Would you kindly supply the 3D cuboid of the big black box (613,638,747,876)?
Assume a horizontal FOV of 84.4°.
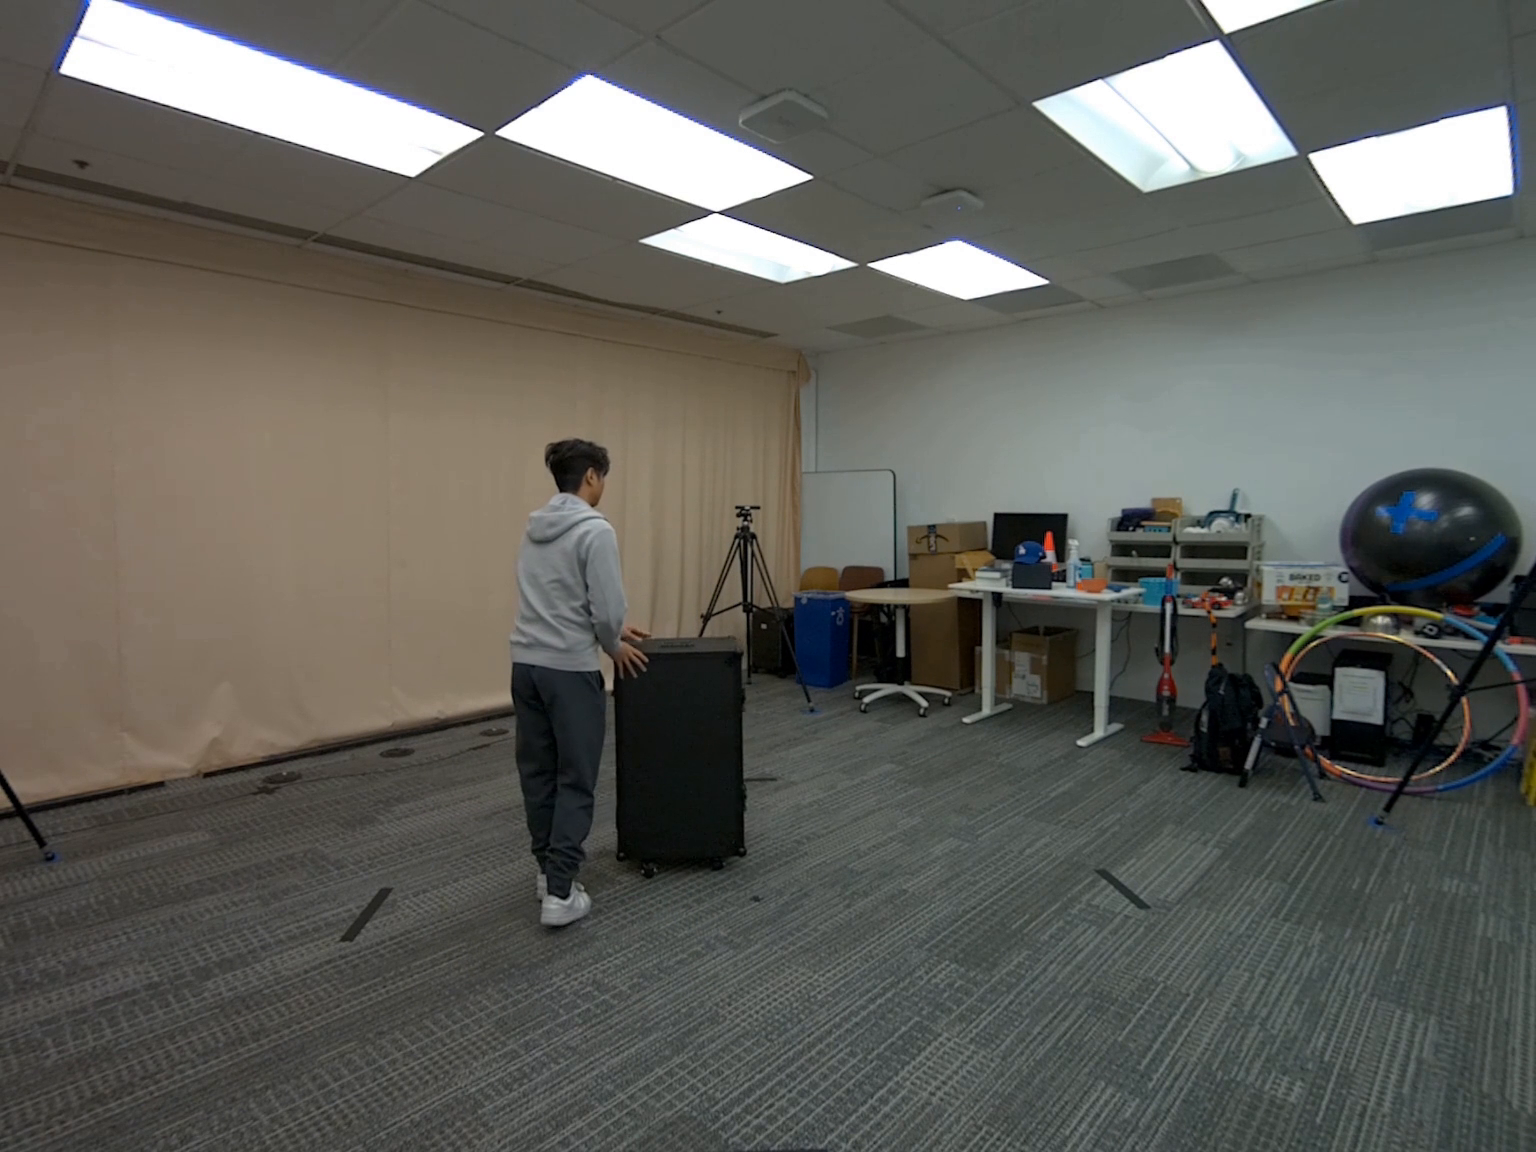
[{"bbox_3d":[-0.357,0.692,3.332,0.519,0.860,0.398,-1,2,-4],"label":"big black box"}]
